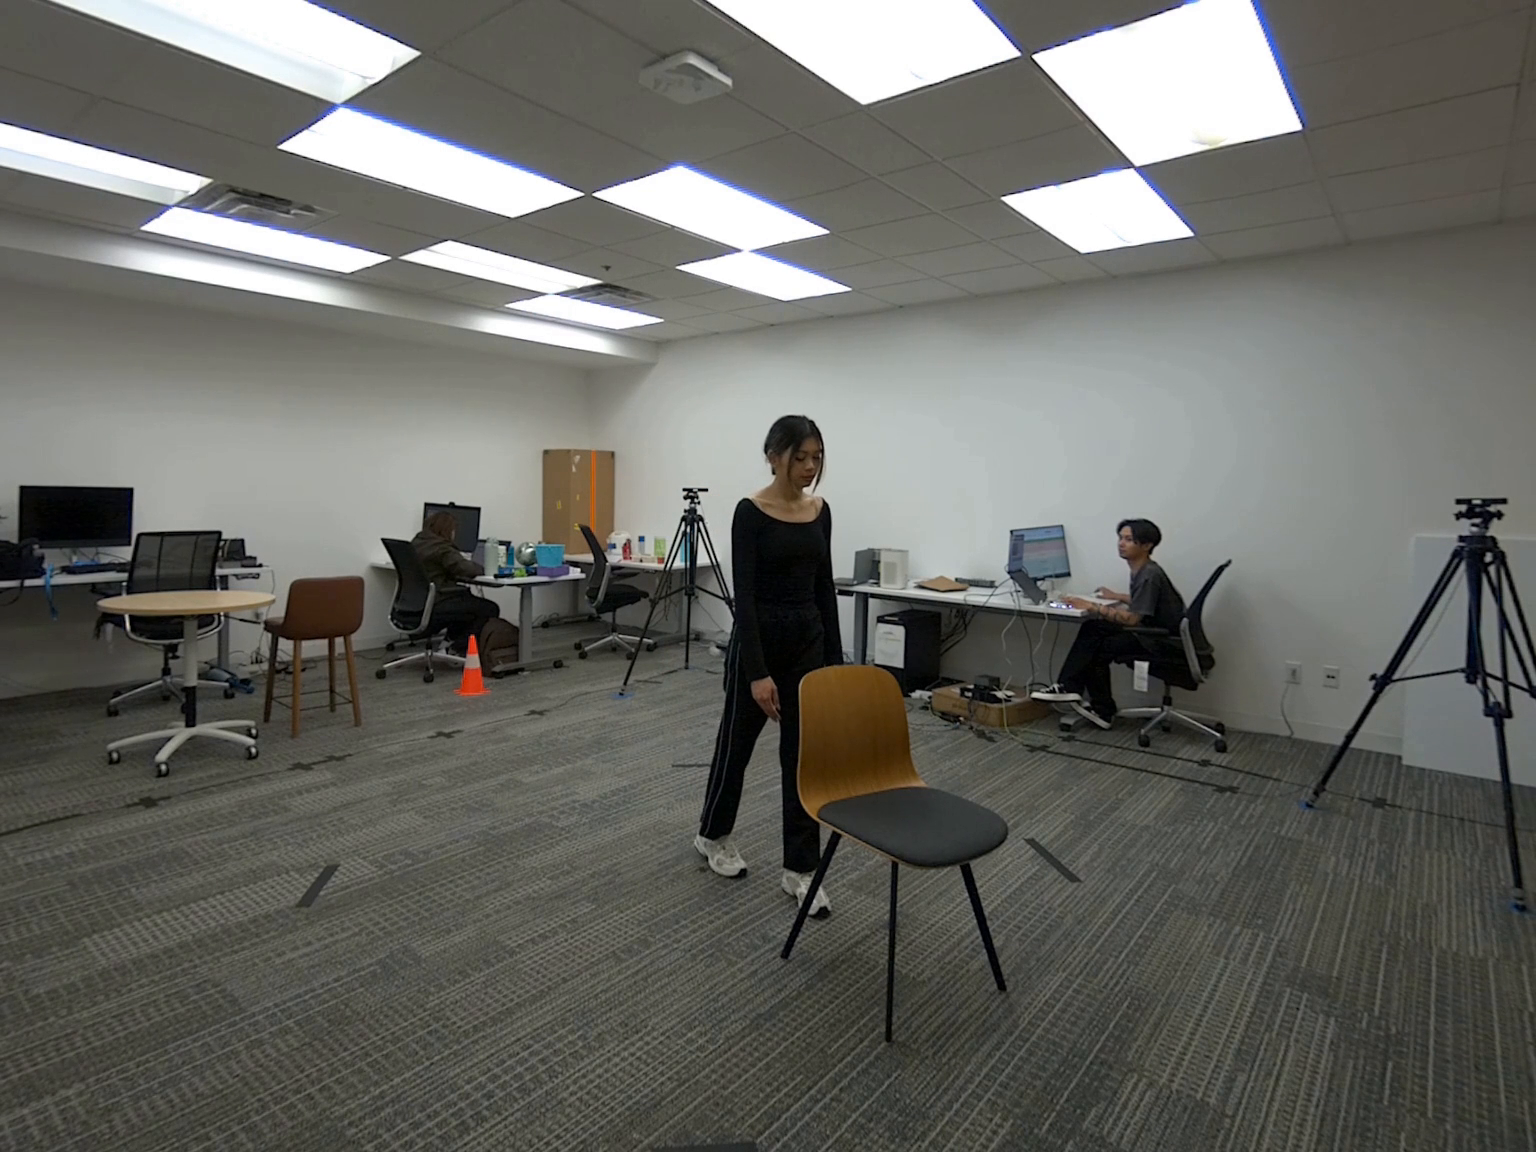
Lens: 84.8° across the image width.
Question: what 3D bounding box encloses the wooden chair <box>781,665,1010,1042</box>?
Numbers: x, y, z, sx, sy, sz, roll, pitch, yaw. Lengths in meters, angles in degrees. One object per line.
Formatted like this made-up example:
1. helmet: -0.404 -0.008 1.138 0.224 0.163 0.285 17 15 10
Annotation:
1. wooden chair: 0.367 0.722 2.422 0.464 0.878 0.538 0 0 -34
